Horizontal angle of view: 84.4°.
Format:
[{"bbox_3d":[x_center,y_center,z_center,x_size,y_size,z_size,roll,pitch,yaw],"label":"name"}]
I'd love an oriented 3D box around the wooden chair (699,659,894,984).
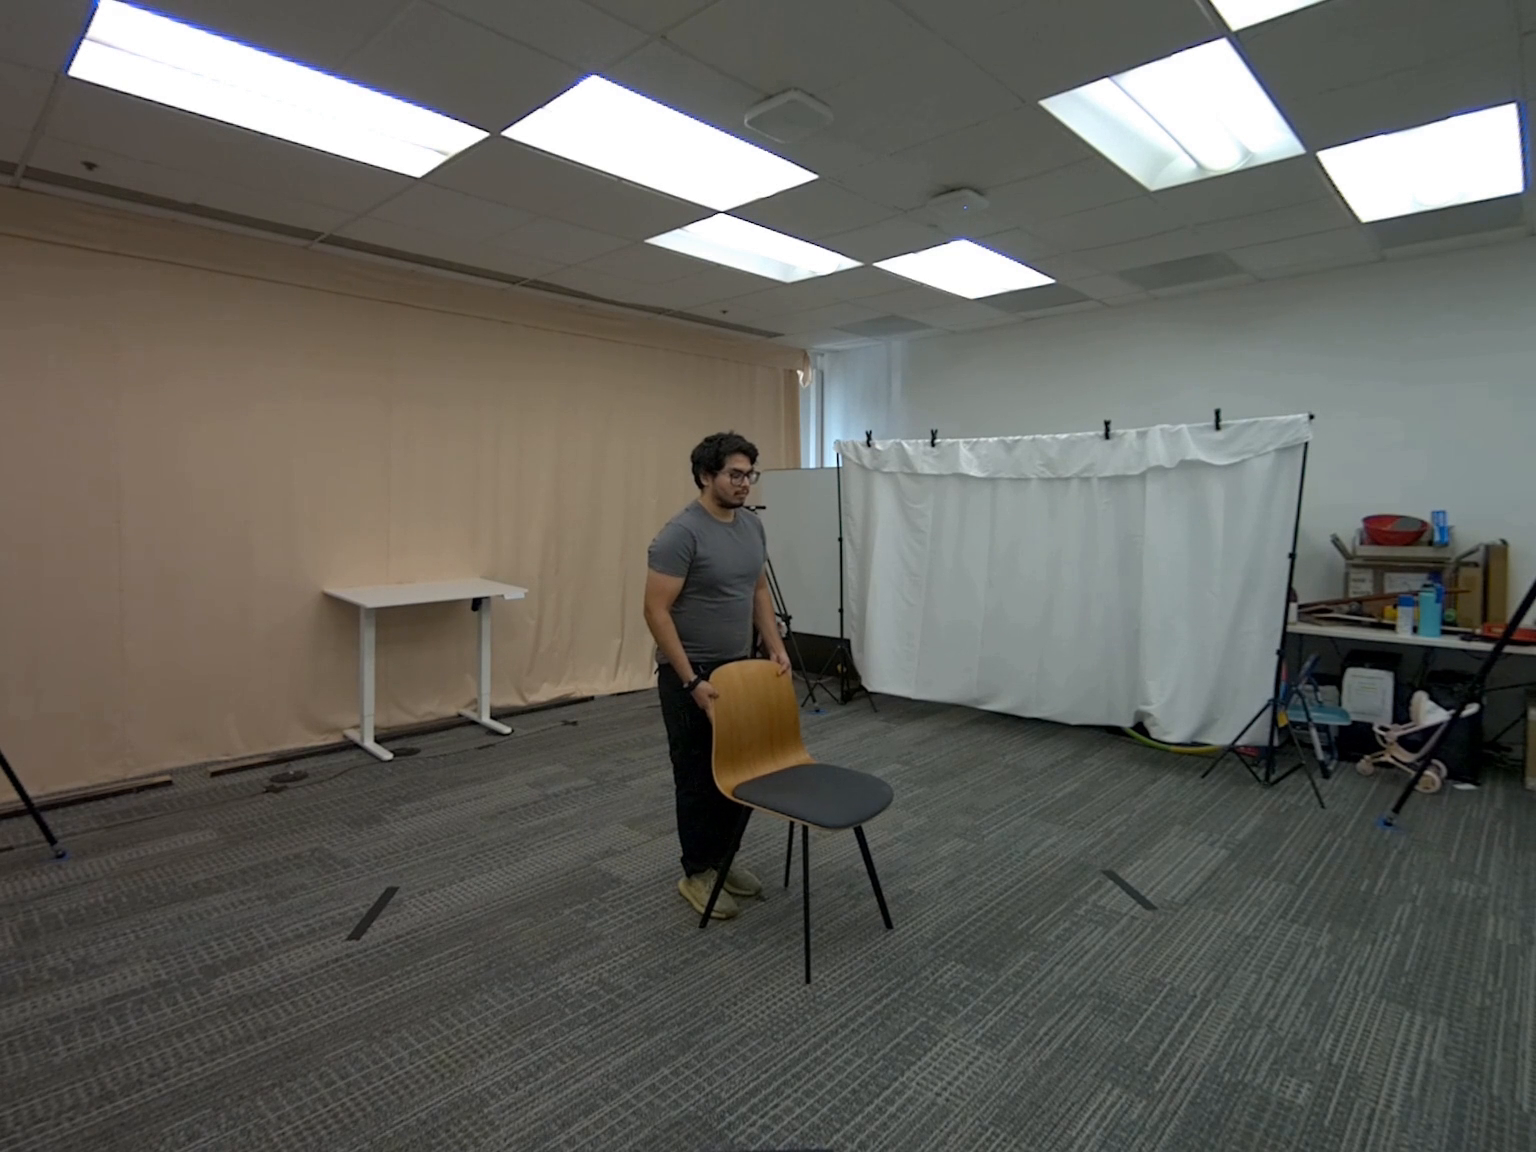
[{"bbox_3d":[0.111,0.732,2.726,0.540,0.877,0.463,-2,1,42],"label":"wooden chair"}]
